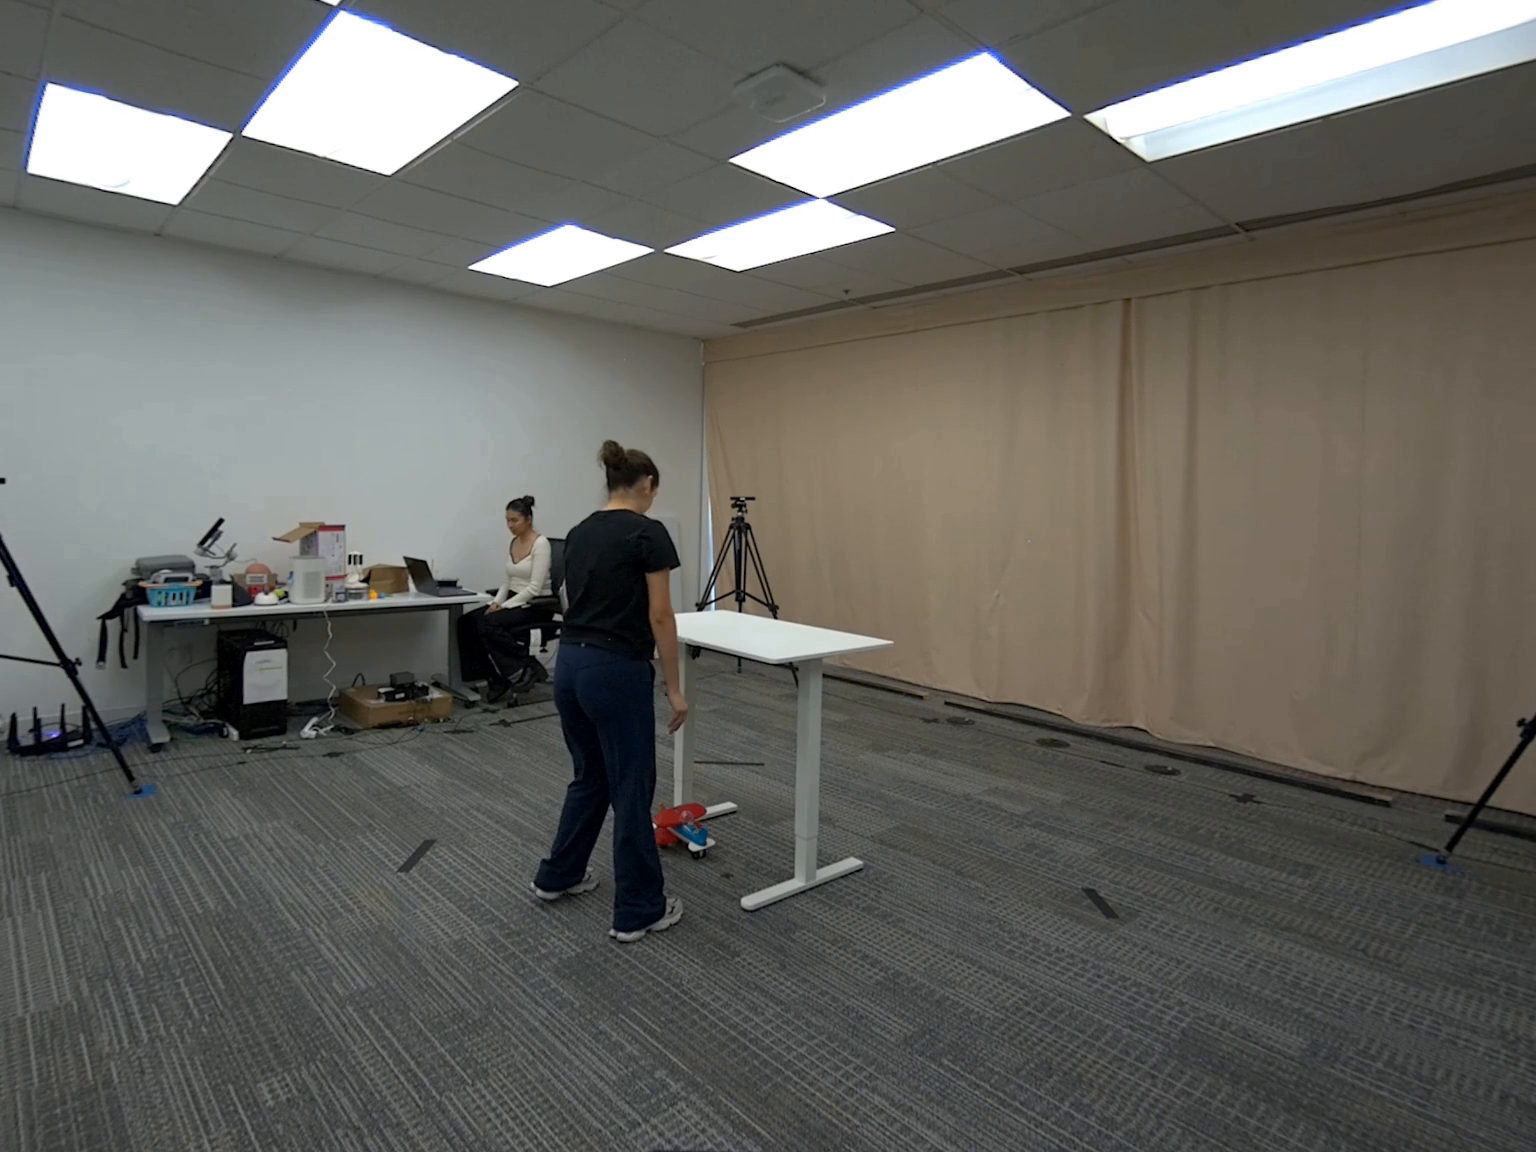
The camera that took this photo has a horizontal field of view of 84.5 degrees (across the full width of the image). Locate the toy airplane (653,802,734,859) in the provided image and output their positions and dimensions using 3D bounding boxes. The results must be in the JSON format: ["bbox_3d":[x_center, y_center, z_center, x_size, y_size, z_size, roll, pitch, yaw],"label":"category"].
[{"bbox_3d":[-0.329,1.014,3.315,0.263,0.156,0.248,1,4,17],"label":"toy airplane"}]
